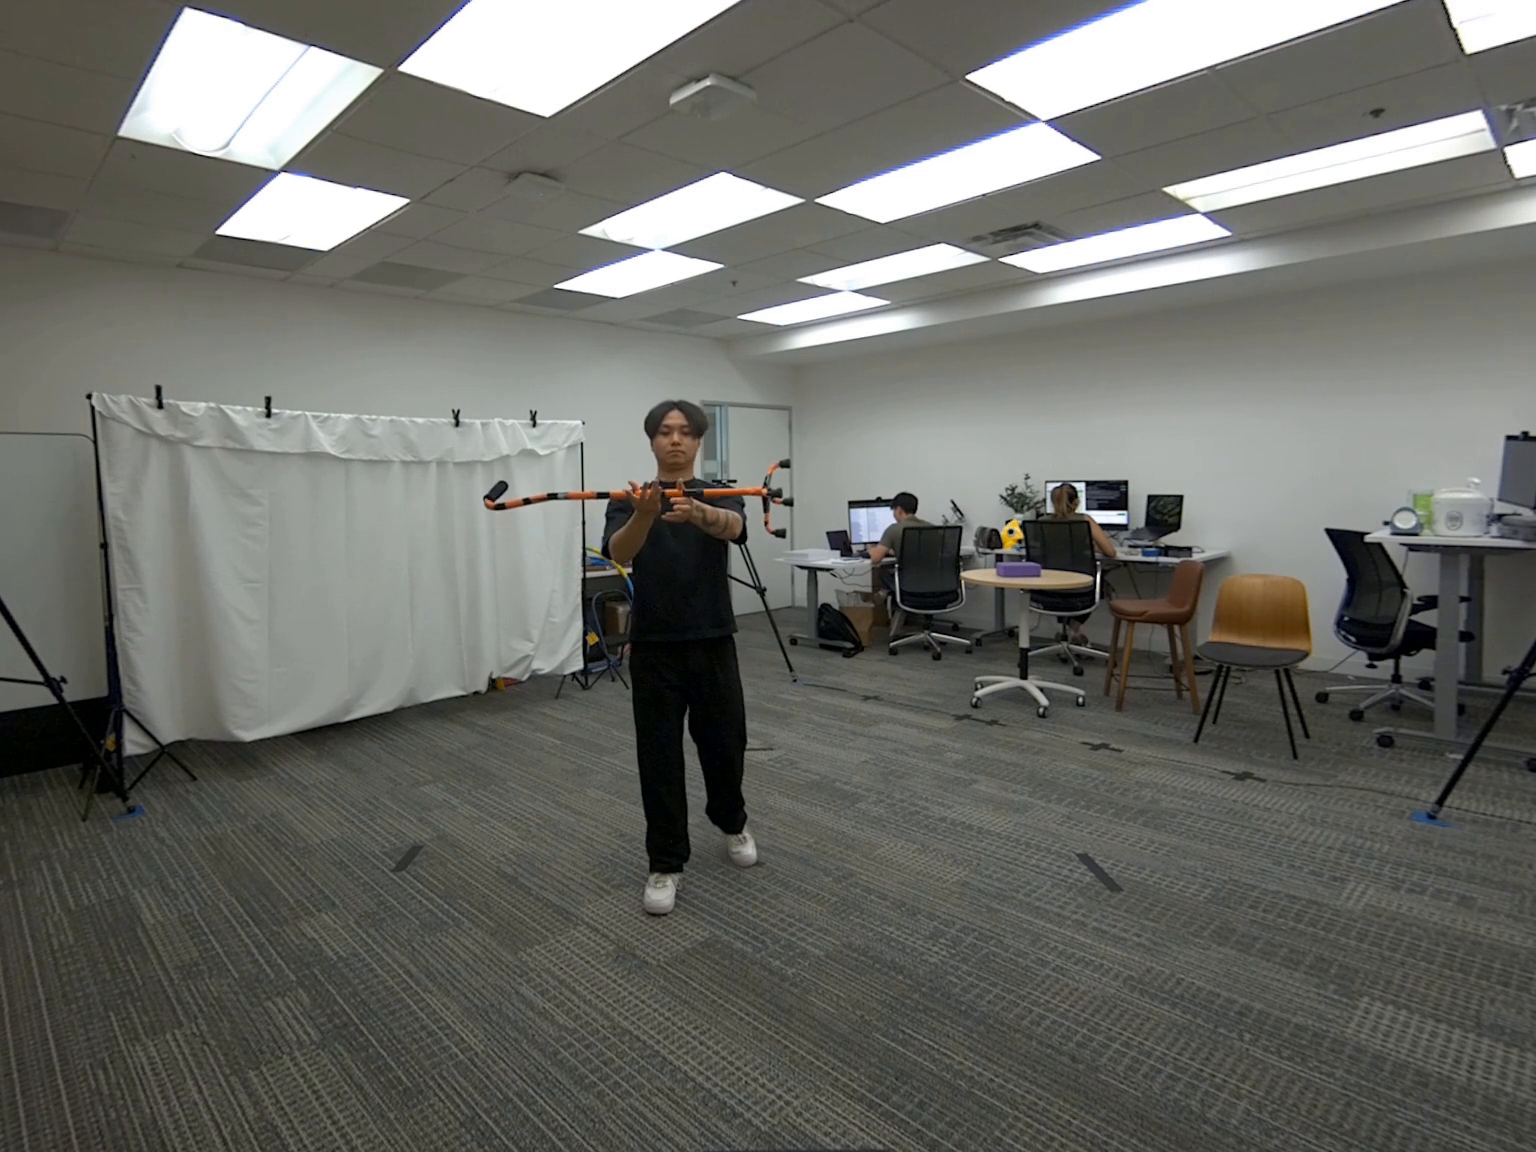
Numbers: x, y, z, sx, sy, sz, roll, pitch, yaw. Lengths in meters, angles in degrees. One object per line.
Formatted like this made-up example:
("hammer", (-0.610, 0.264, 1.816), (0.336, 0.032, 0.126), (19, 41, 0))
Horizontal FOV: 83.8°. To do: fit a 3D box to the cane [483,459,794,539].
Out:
("cane", (-0.390, -0.214, 2.447), (0.920, 0.147, 0.209), (1, 33, 13))
